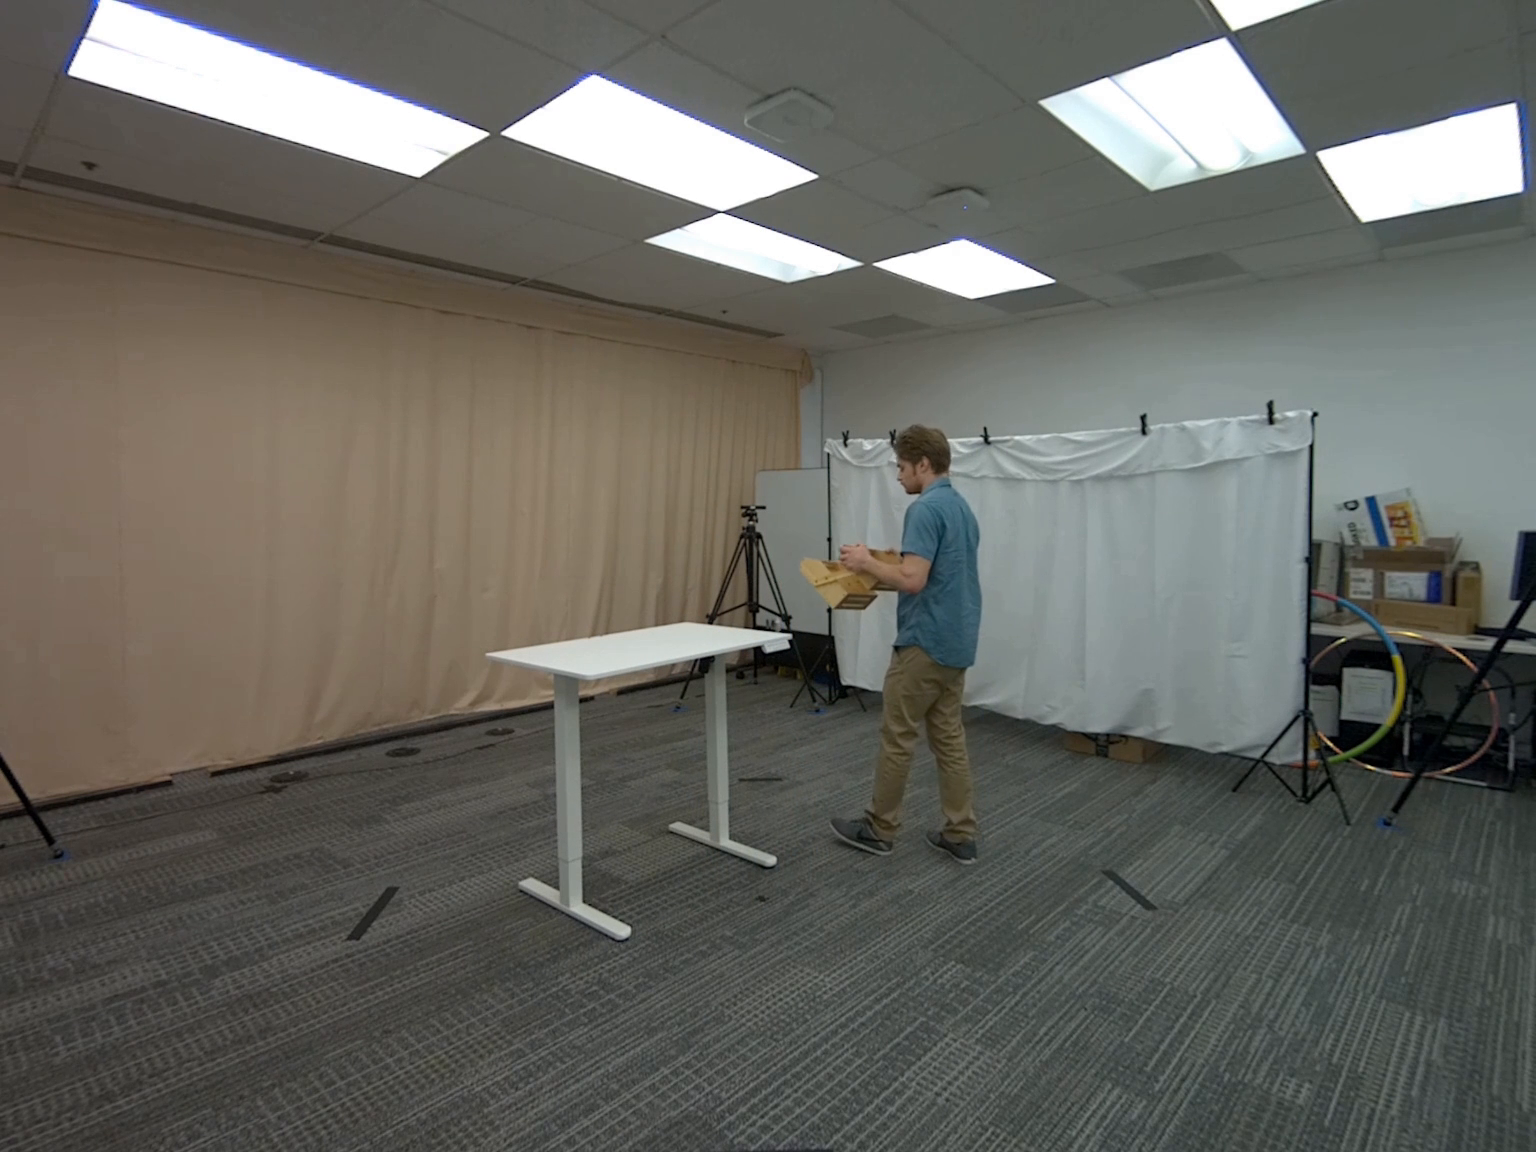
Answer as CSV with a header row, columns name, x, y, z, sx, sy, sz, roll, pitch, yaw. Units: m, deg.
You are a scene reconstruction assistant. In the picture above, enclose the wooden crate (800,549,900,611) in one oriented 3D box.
name,x,y,z,sx,sy,sz,roll,pitch,yaw
wooden crate,0.374,-0.021,3.530,0.314,0.274,0.310,5,42,-55
